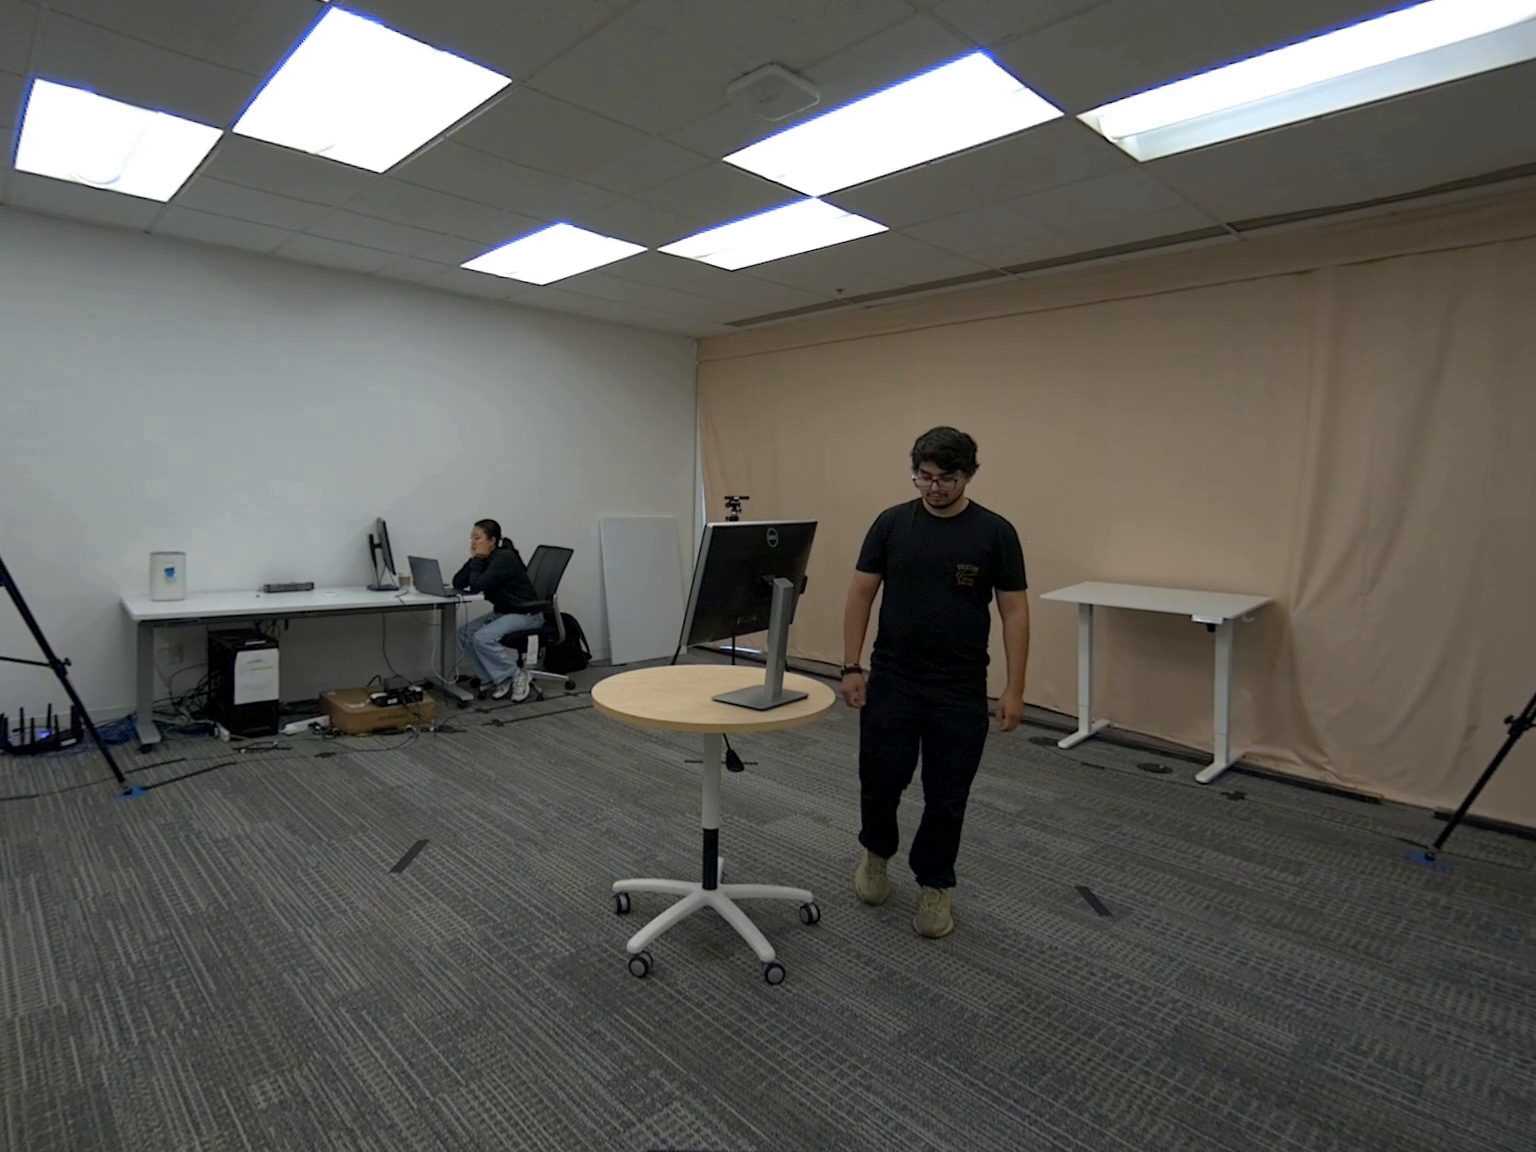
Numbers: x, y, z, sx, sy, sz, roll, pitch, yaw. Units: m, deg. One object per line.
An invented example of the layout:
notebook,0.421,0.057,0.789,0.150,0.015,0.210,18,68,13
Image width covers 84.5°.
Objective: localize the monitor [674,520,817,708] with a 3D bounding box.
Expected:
monitor,-0.001,0.114,2.528,0.216,0.551,0.553,12,10,34
